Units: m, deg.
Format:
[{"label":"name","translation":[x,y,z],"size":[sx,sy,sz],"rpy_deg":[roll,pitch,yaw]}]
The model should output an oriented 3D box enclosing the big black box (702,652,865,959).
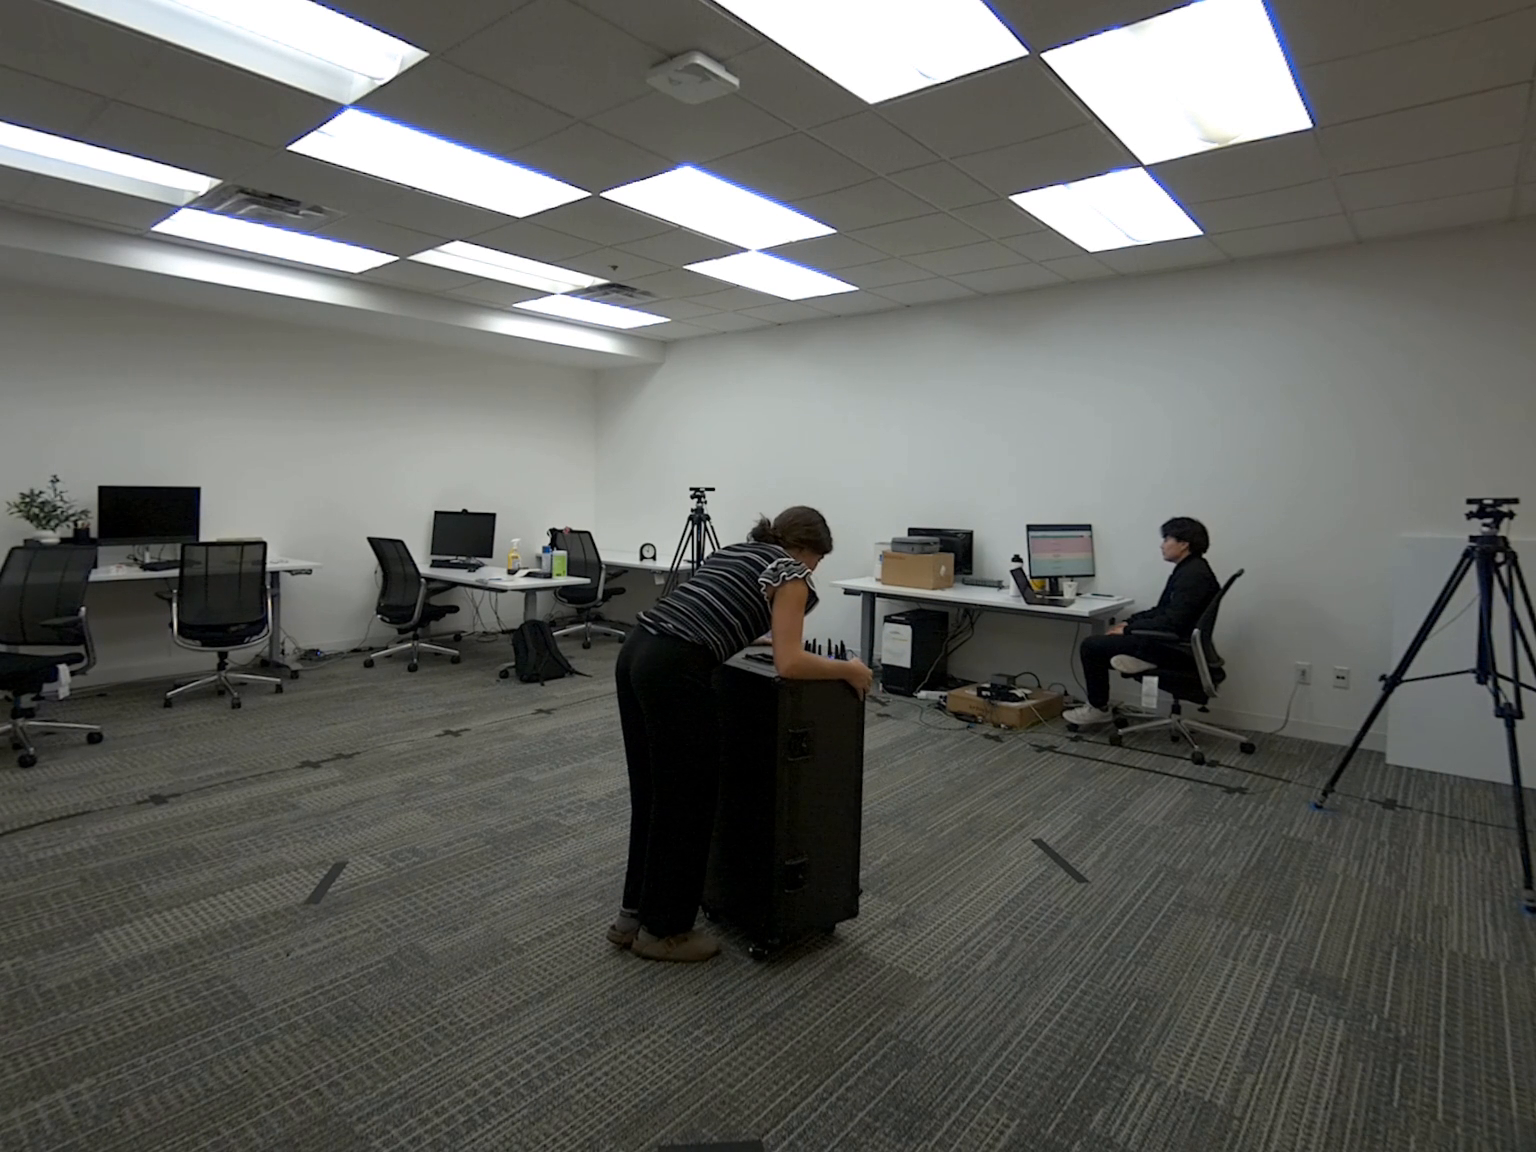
[{"label":"big black box","translation":[0.002,0.691,2.717],"size":[0.384,0.860,0.539],"rpy_deg":[1,3,-37]}]
